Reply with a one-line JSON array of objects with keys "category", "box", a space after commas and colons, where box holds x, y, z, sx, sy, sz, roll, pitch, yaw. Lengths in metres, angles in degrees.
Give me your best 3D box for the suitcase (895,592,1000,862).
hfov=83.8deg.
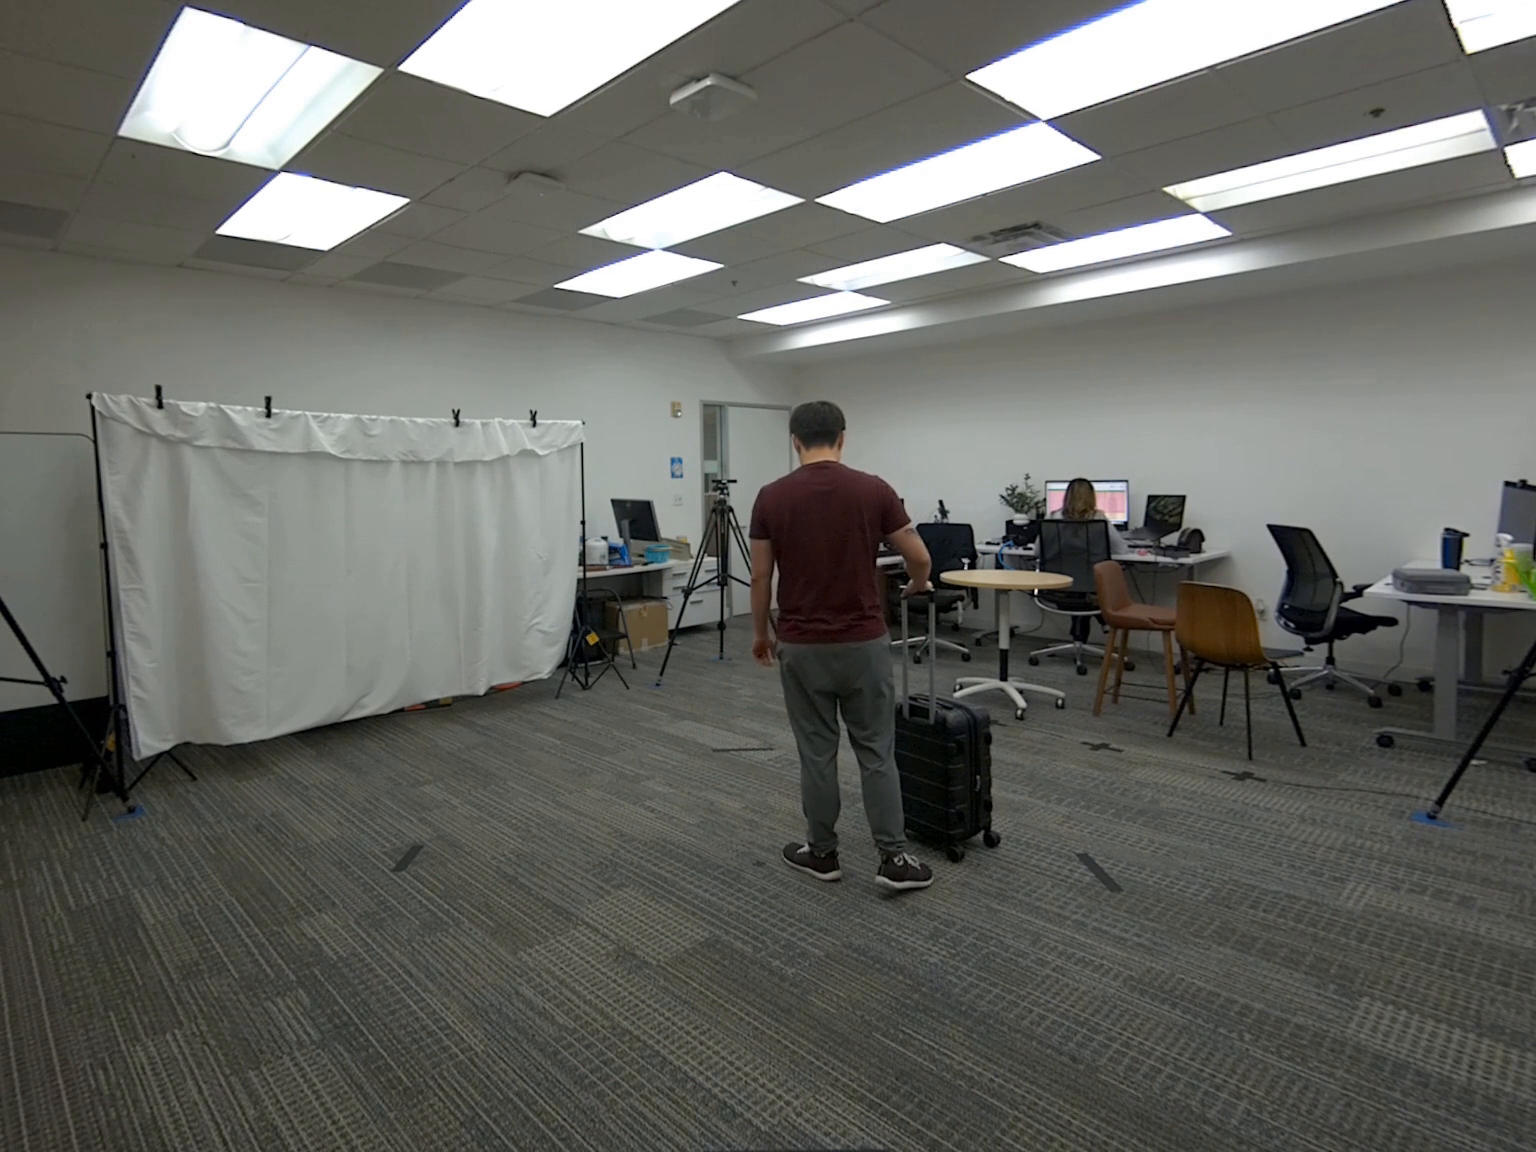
[{"category": "suitcase", "box": [0.664, 0.540, 3.283, 0.250, 0.977, 0.395, -1, 2, -35]}]
